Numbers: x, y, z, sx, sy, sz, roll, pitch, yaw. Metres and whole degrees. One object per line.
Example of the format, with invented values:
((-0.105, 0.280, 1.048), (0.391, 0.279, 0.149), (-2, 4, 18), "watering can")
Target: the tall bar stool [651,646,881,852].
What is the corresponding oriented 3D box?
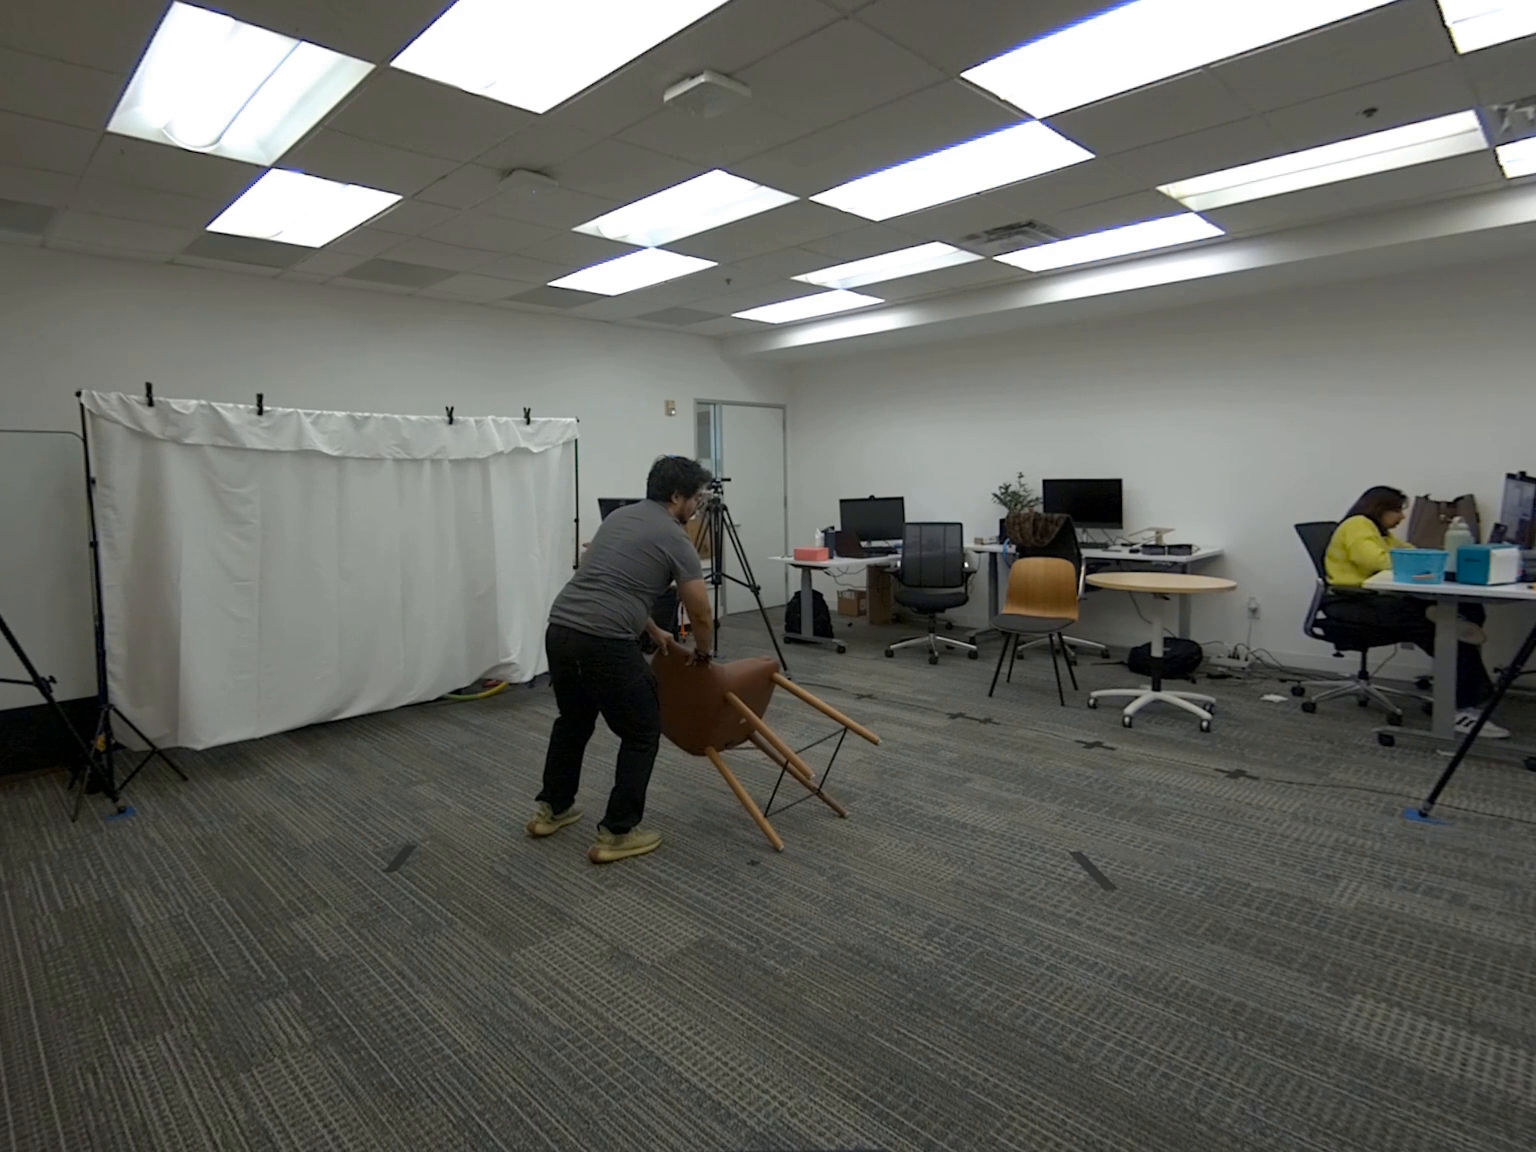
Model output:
((-0.064, 0.626, 3.530), (0.922, 0.451, 0.456), (35, 29, 32), "tall bar stool")
